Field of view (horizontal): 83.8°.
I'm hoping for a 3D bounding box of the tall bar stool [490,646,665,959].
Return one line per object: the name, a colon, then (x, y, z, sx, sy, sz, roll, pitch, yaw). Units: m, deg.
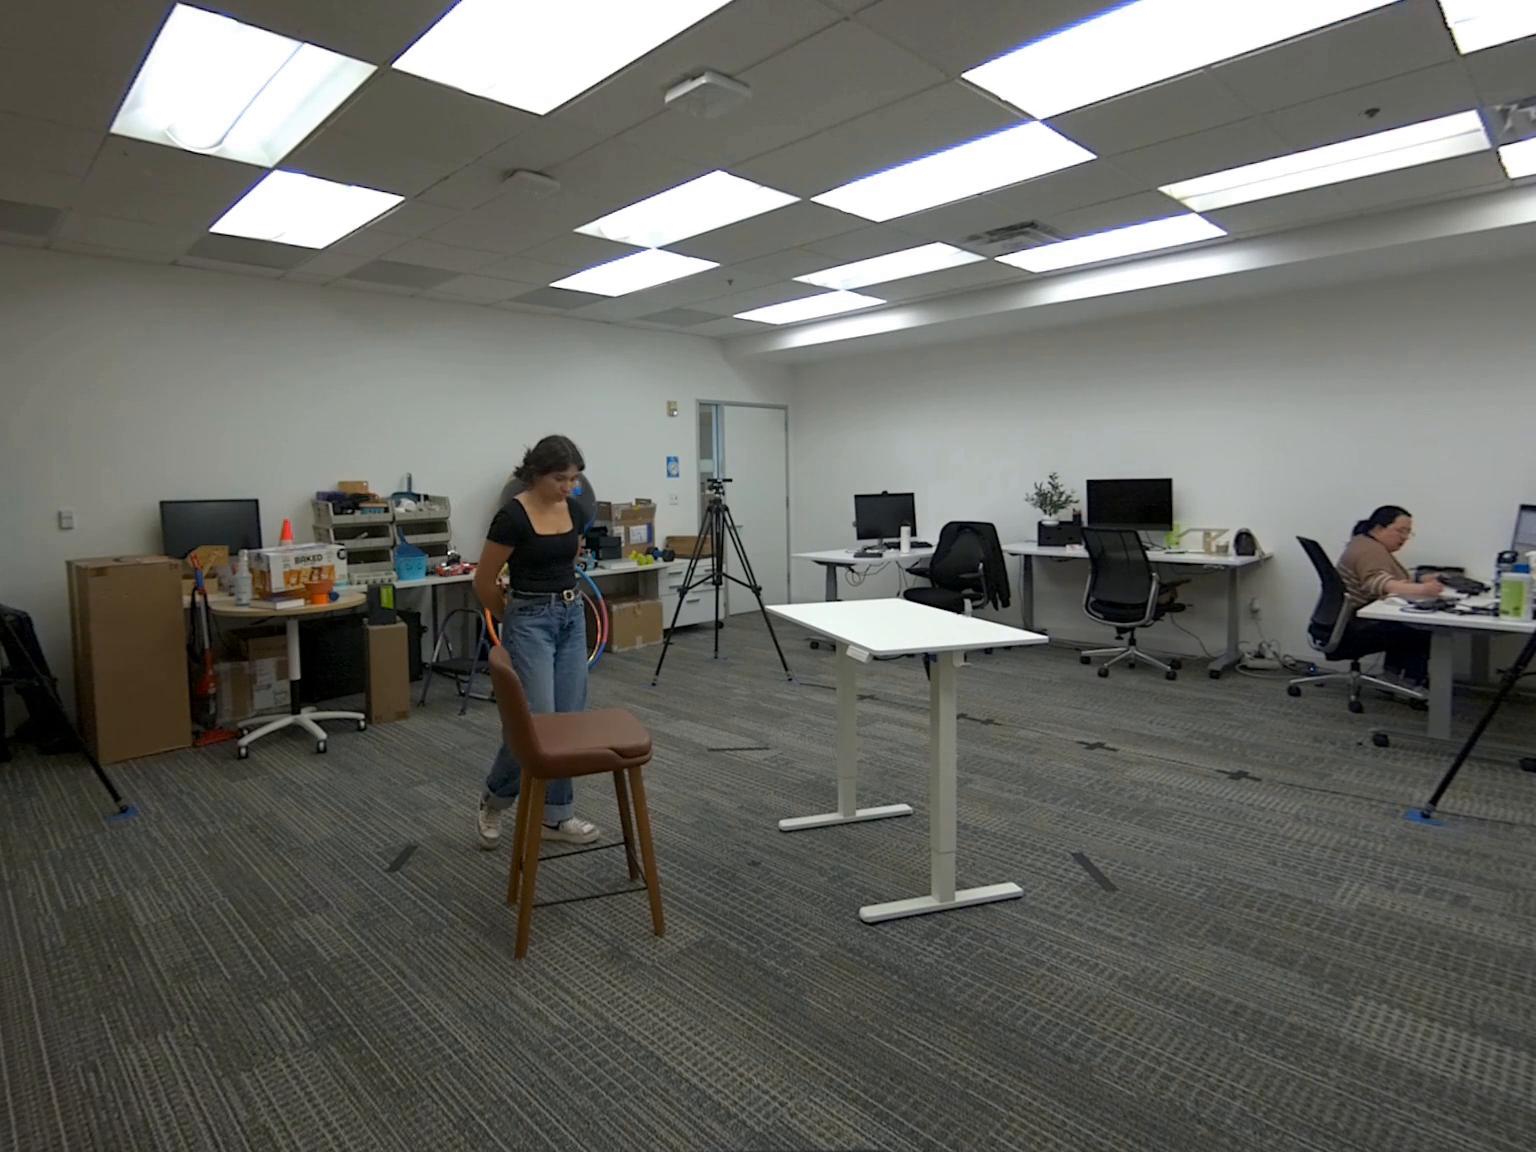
tall bar stool: (-0.602, 0.665, 2.721, 0.460, 0.886, 0.466, -4, 5, -19)
